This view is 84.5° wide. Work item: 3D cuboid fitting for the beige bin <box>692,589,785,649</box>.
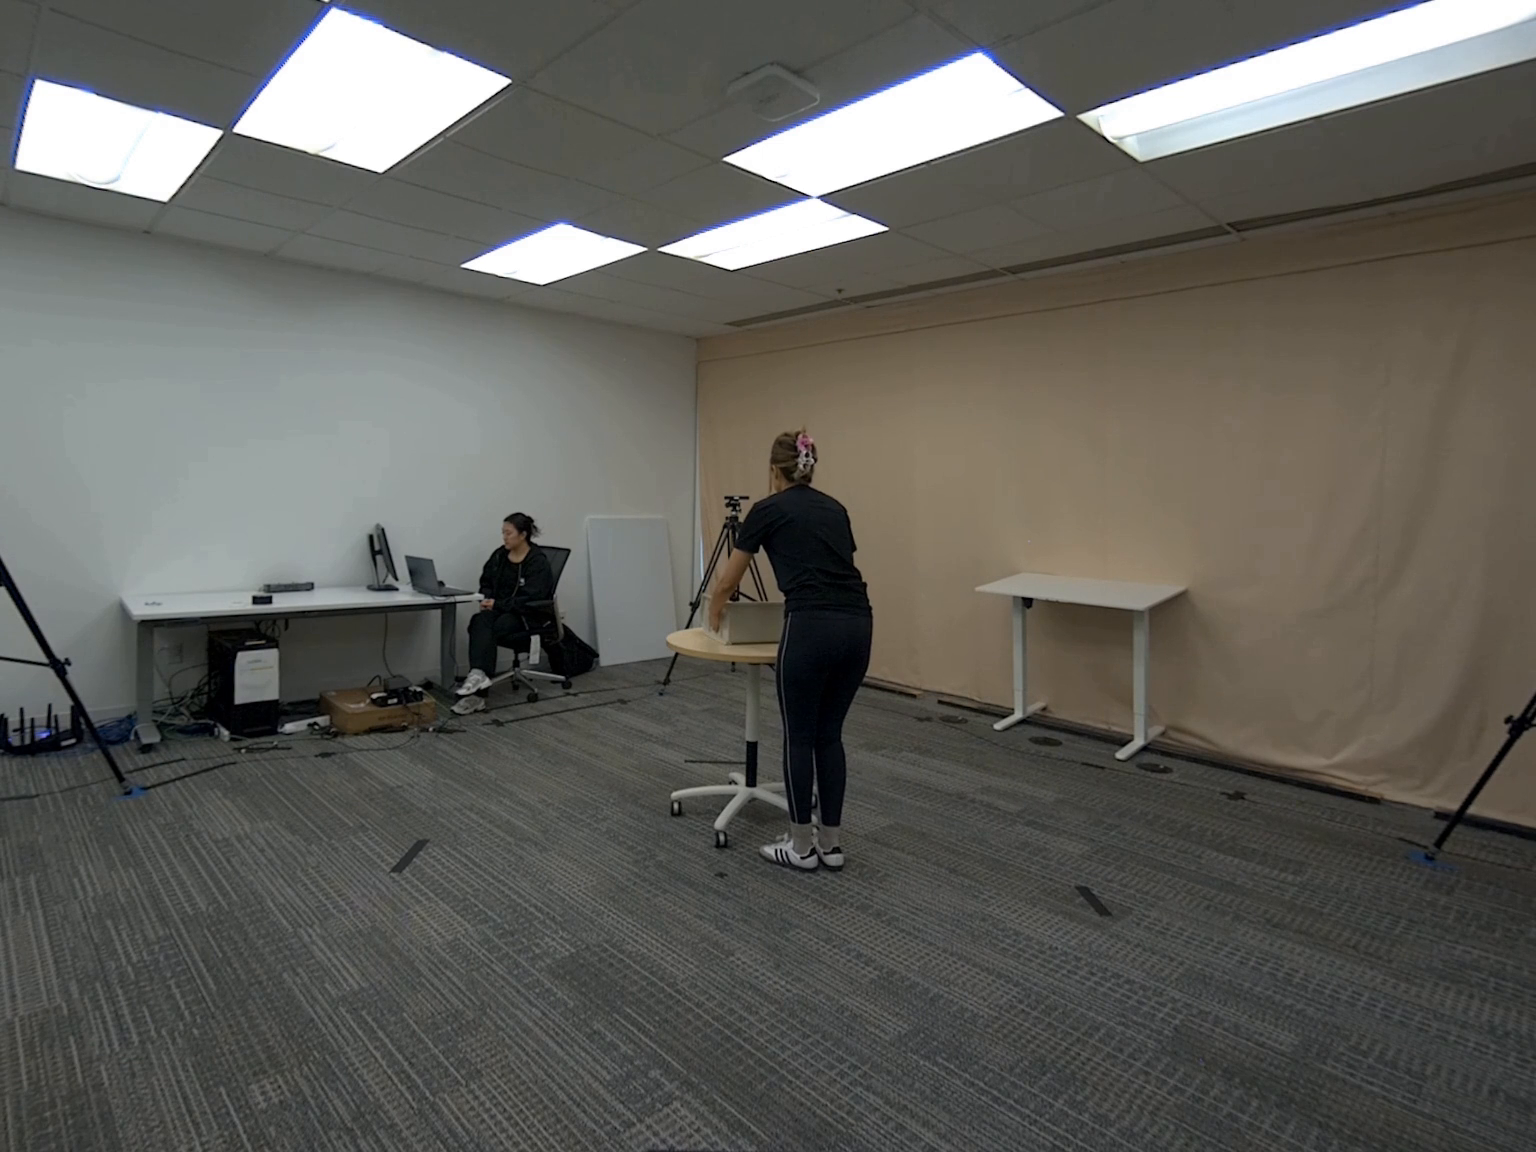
[{"bbox_3d":[-0.067,0.183,3.705,0.415,0.188,0.385,3,5,-22],"label":"beige bin"}]
